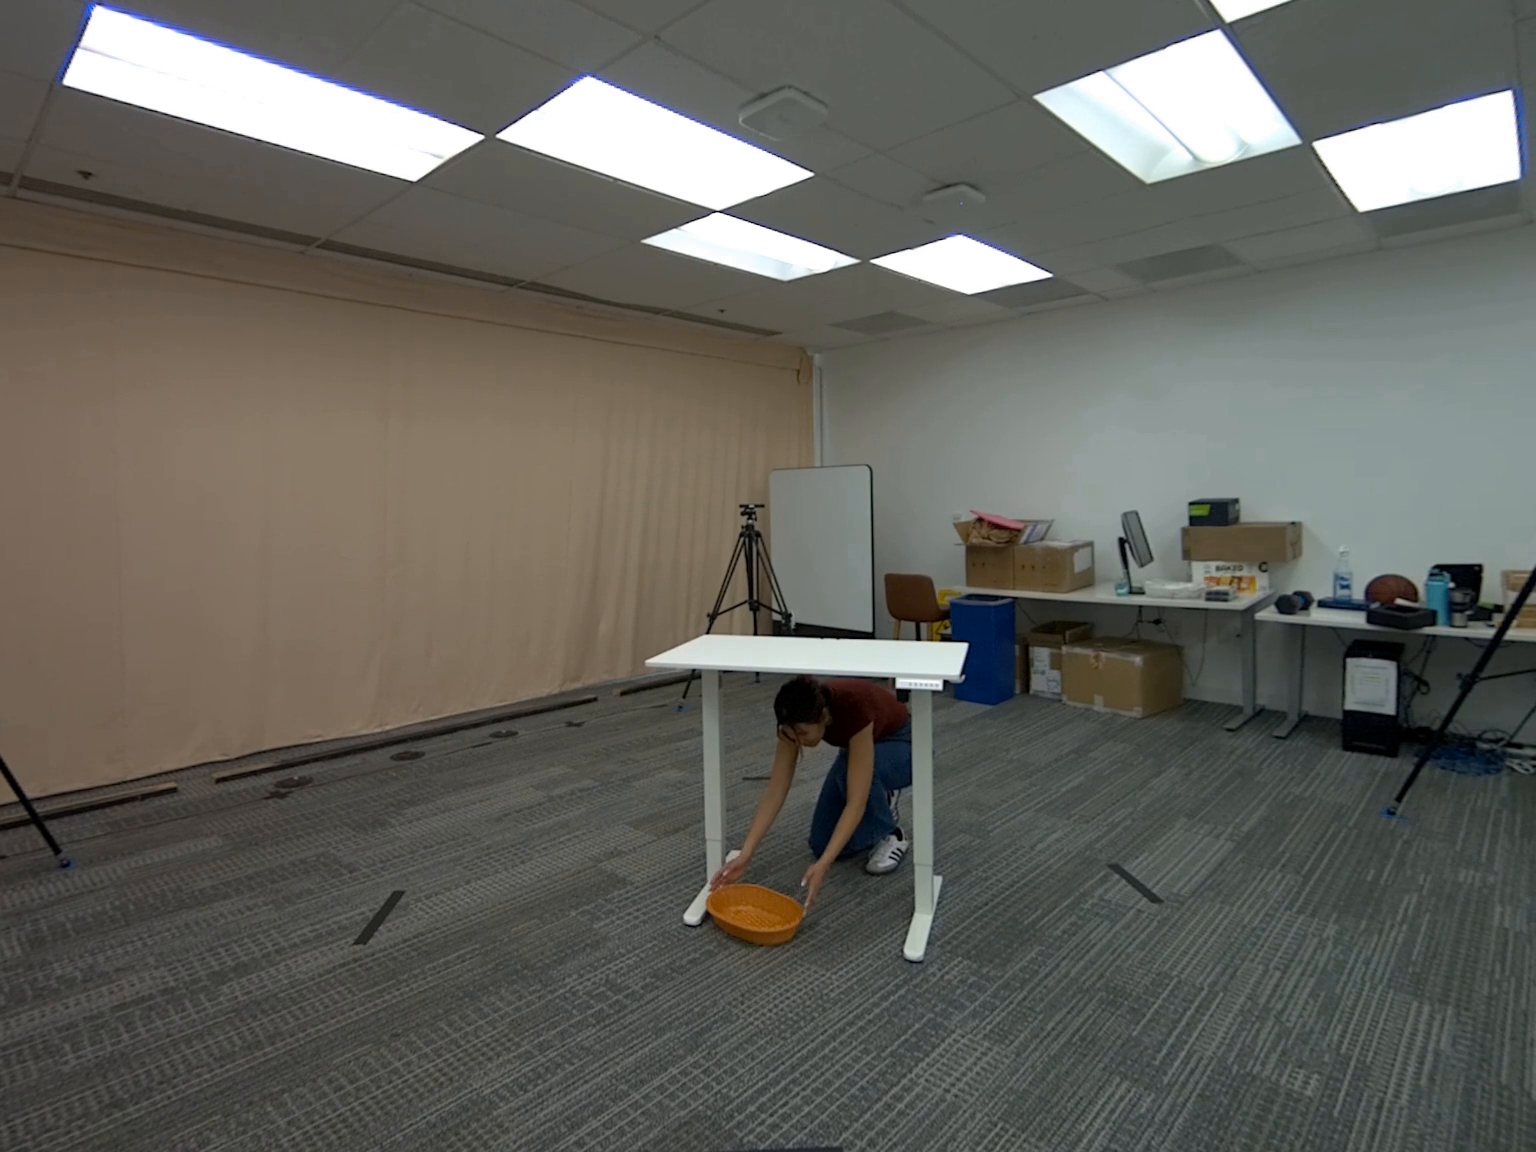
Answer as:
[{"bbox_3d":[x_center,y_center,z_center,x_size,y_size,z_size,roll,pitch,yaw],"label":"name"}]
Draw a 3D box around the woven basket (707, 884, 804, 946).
[{"bbox_3d":[-0.040,1.116,2.780,0.362,0.073,0.245,3,8,42],"label":"woven basket"}]
